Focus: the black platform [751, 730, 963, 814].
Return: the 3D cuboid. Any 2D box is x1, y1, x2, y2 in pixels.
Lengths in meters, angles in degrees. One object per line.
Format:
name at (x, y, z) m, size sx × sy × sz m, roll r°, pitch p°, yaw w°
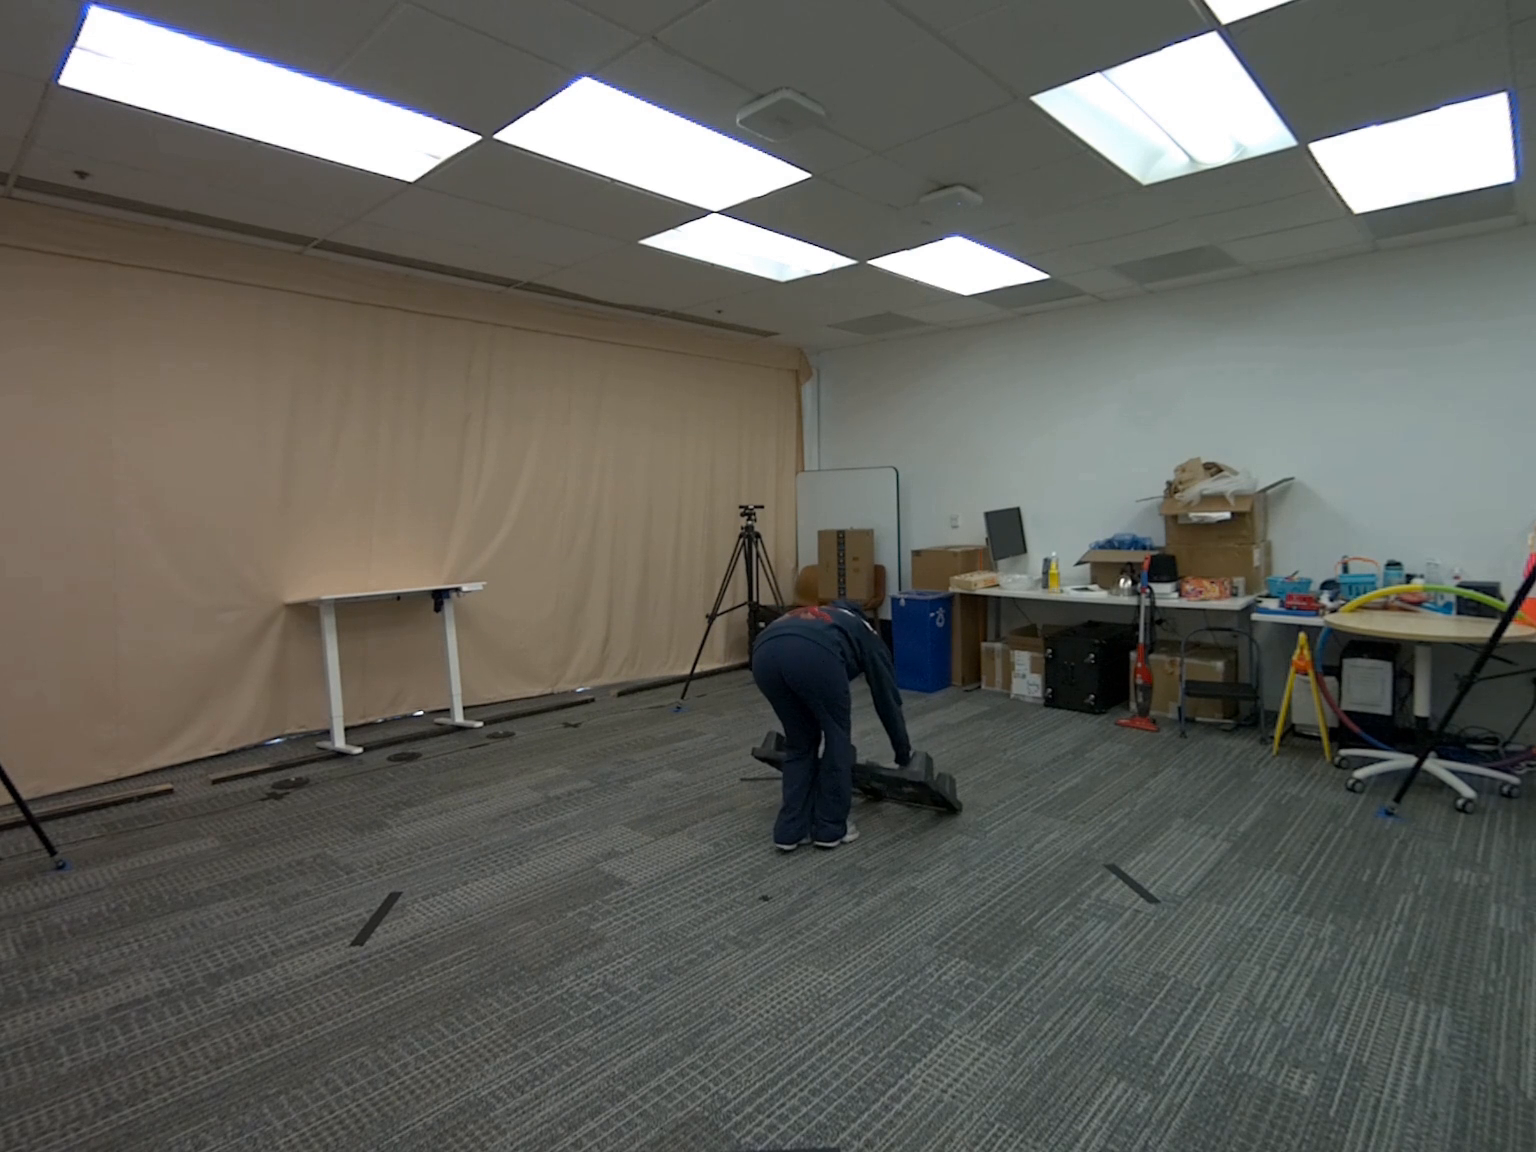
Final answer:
black platform at (0.408, 0.872, 3.776) m, size 0.829 × 0.144 × 0.584 m, roll 1°, pitch -24°, yaw 30°
